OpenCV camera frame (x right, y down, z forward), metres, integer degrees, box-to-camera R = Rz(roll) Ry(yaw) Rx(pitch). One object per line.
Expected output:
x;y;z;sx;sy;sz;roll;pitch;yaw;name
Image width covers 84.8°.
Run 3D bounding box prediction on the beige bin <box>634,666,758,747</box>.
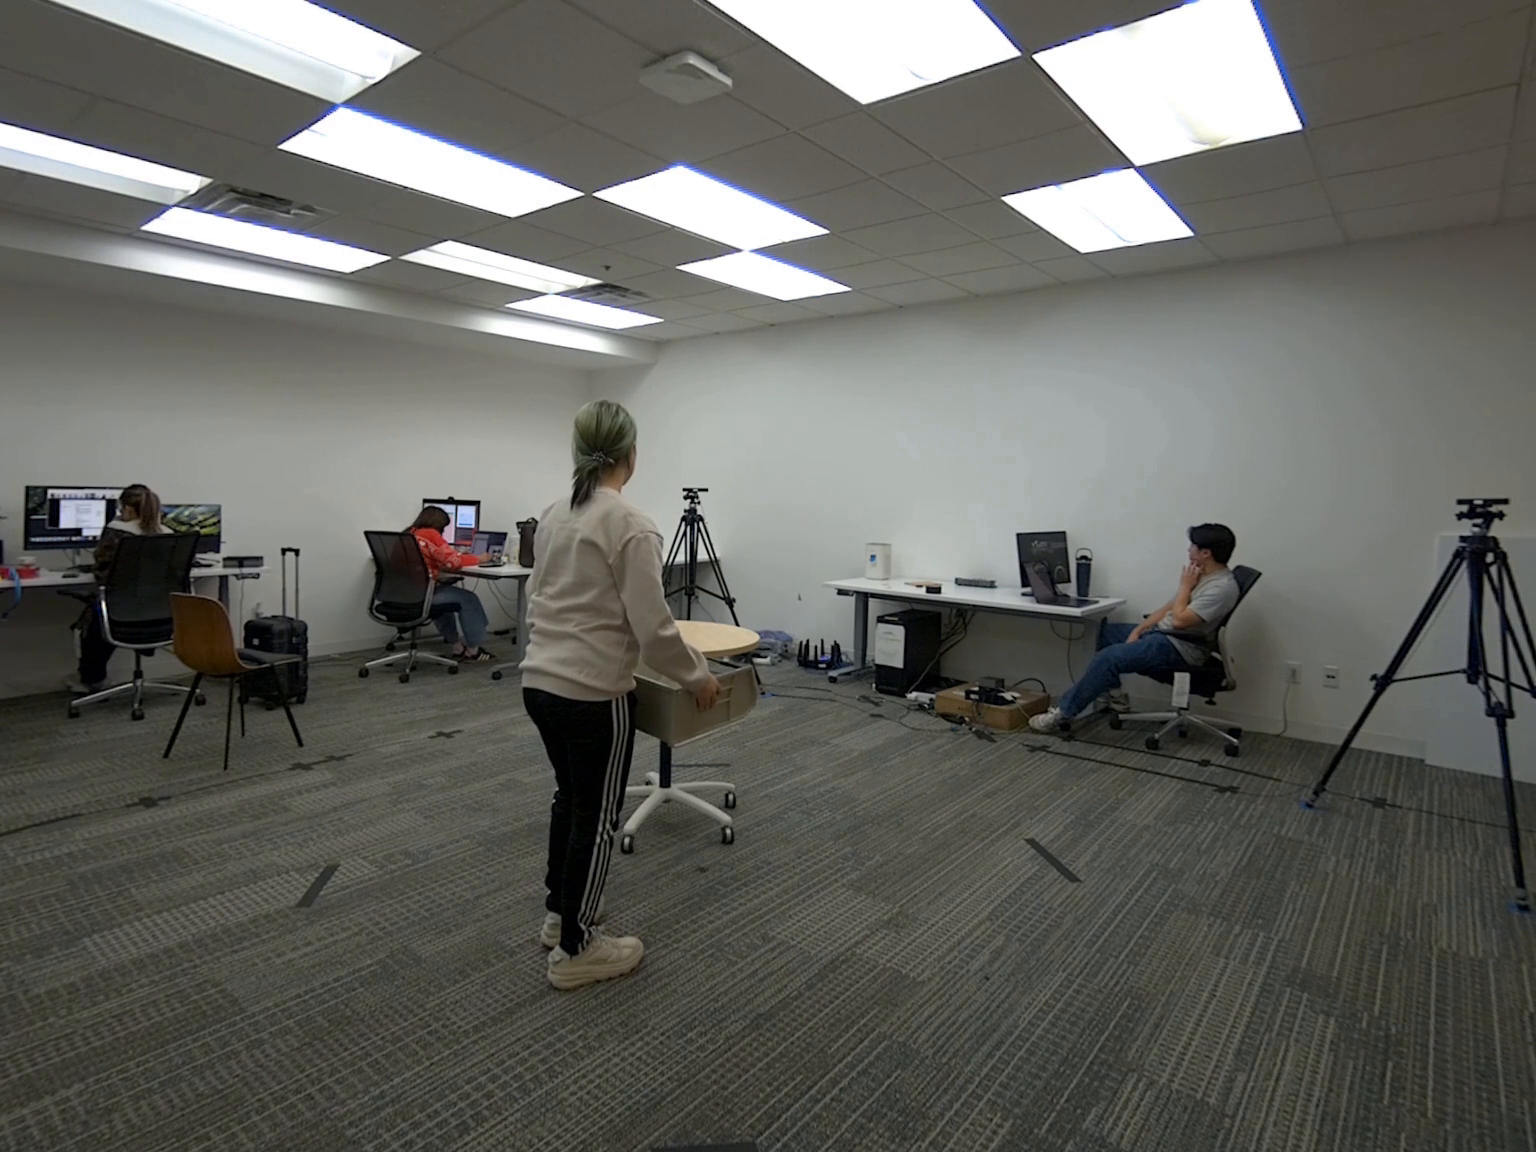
-0.315;0.335;2.651;0.438;0.187;0.368;11;16;40;beige bin
